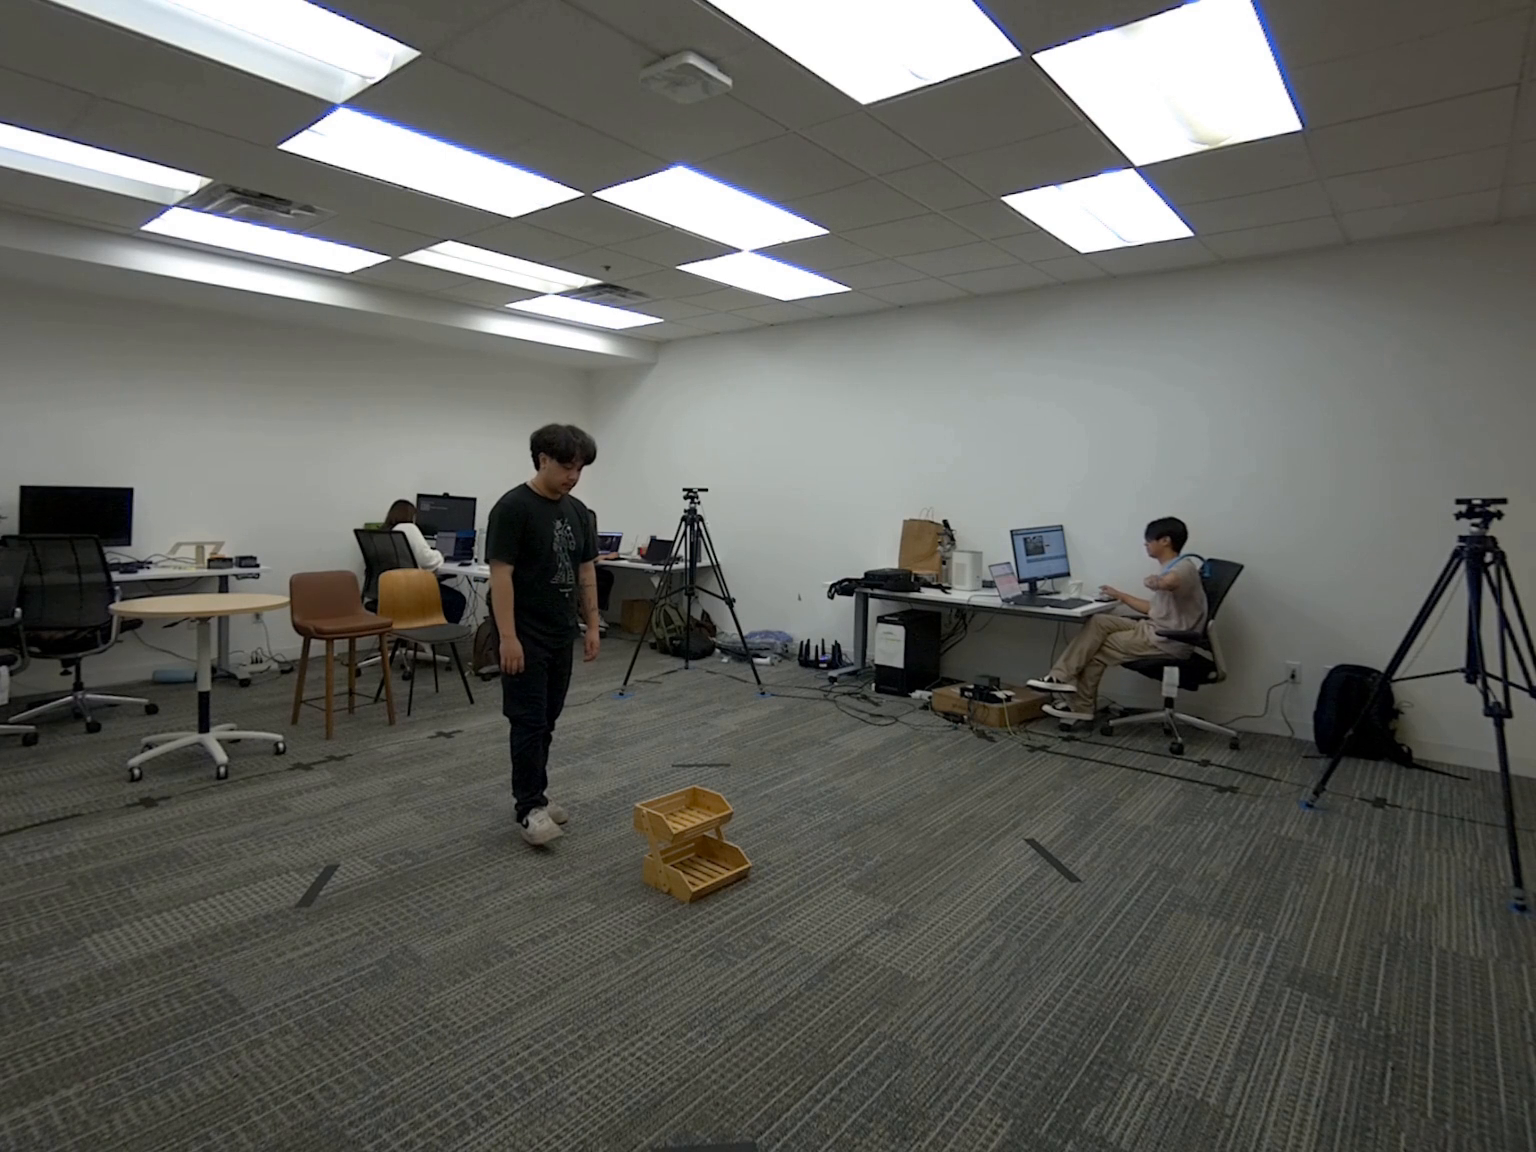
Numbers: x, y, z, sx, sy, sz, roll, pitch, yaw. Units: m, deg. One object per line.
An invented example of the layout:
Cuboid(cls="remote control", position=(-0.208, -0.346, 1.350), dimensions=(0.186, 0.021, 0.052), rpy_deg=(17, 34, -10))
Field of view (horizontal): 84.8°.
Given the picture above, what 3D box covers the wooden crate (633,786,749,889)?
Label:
Cuboid(cls="wooden crate", position=(-0.276, 0.940, 3.037), dimensions=(0.312, 0.272, 0.315), rpy_deg=(3, 5, 42))
